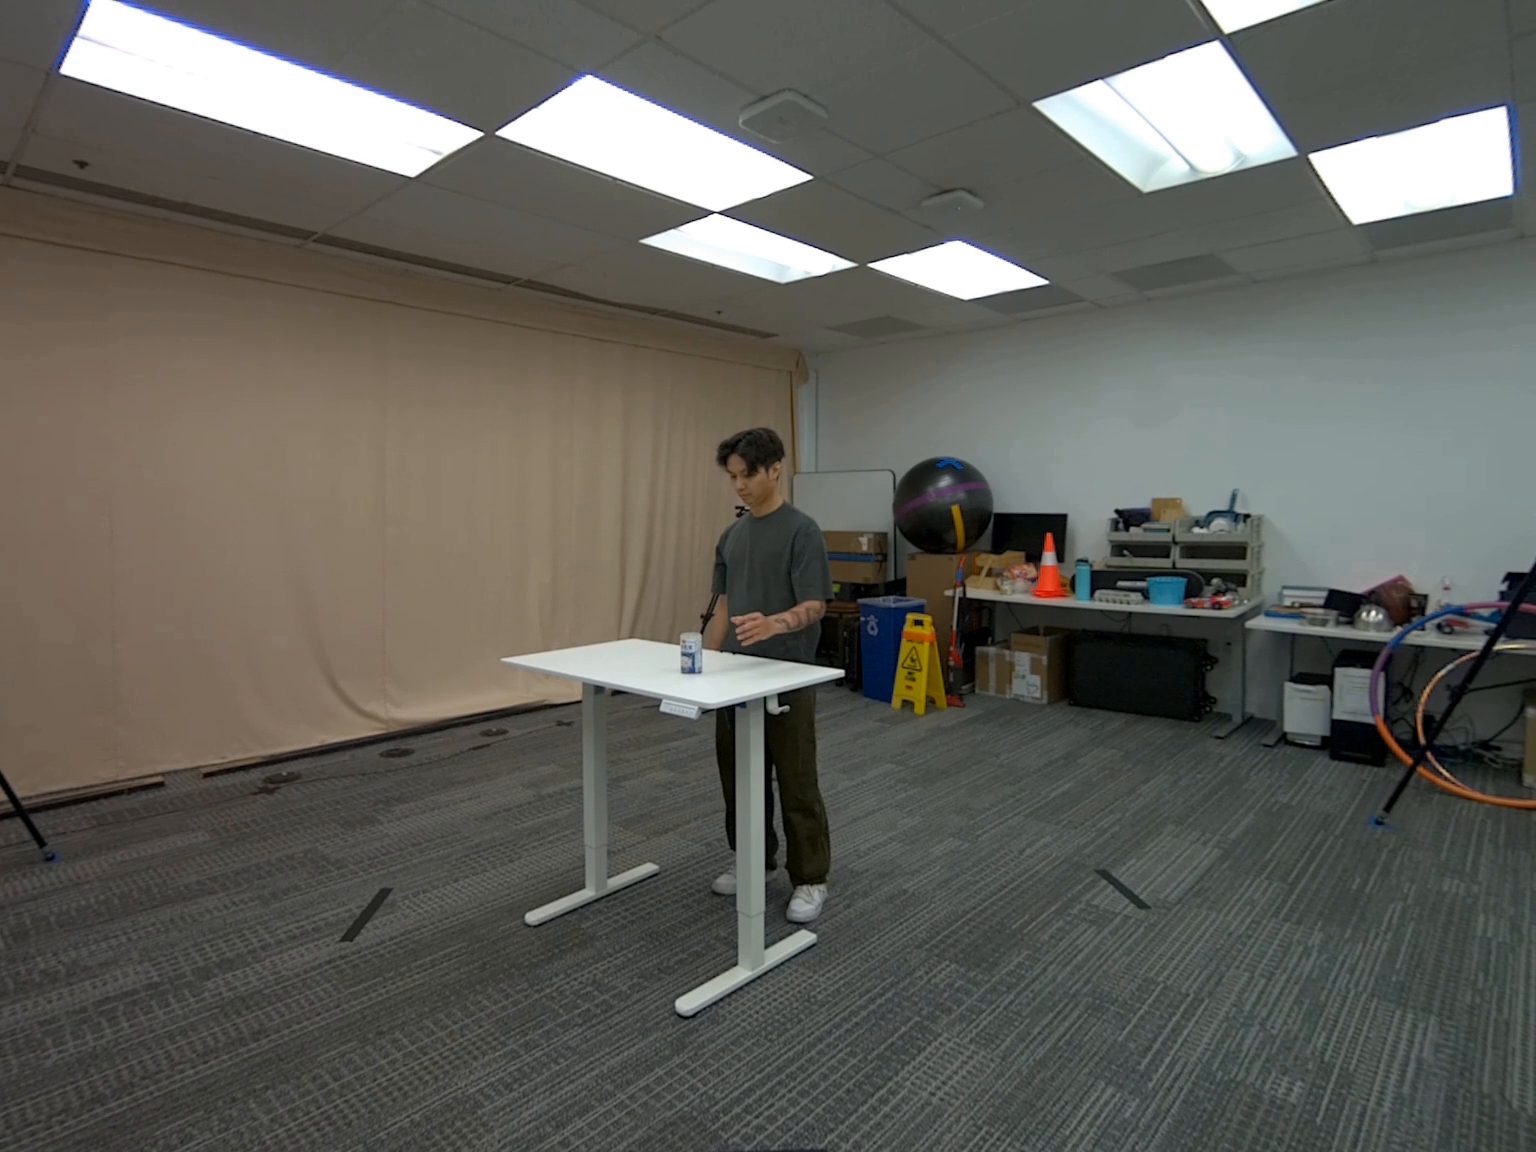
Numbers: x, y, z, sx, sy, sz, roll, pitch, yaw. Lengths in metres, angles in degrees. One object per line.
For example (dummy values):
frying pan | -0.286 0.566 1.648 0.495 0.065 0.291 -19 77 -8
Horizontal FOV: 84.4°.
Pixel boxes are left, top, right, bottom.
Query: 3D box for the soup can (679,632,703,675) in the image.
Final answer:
soup can | -0.237 0.241 2.581 0.067 0.121 0.067 -2 1 -2
